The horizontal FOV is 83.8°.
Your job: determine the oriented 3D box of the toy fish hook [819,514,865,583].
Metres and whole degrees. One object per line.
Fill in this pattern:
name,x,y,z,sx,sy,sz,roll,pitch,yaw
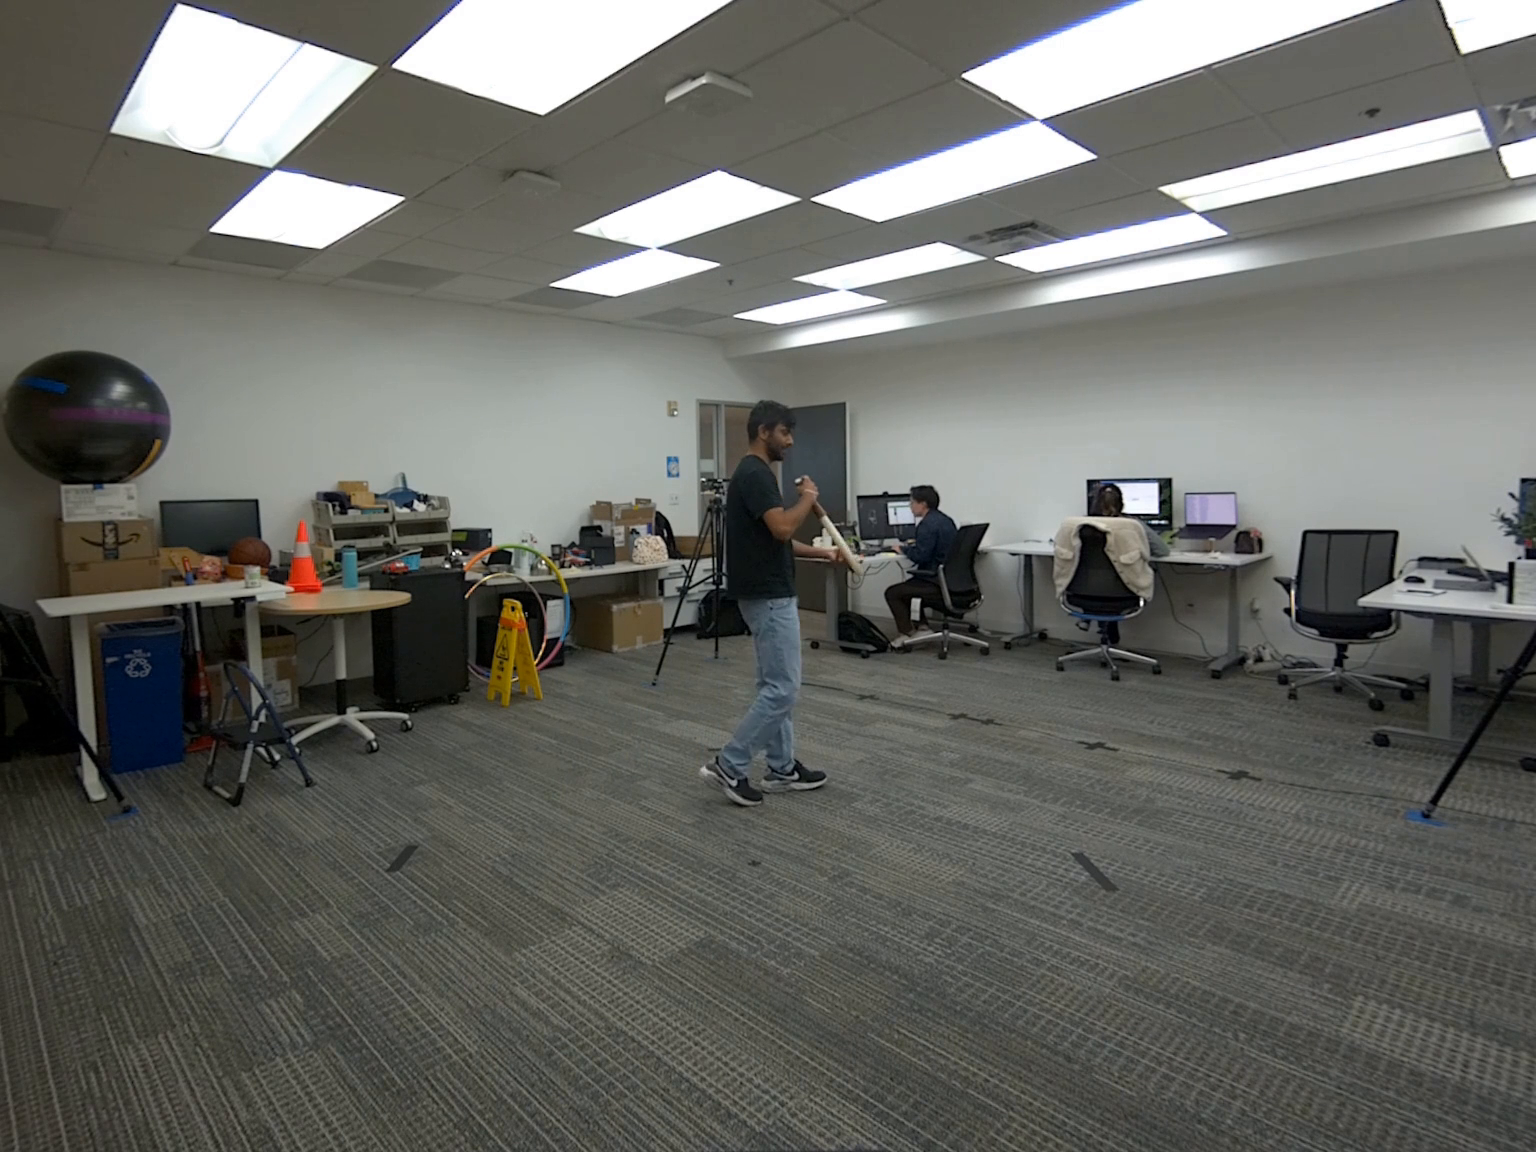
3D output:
toy fish hook,0.263,-0.204,3.745,0.048,0.510,0.223,-33,-5,-4
